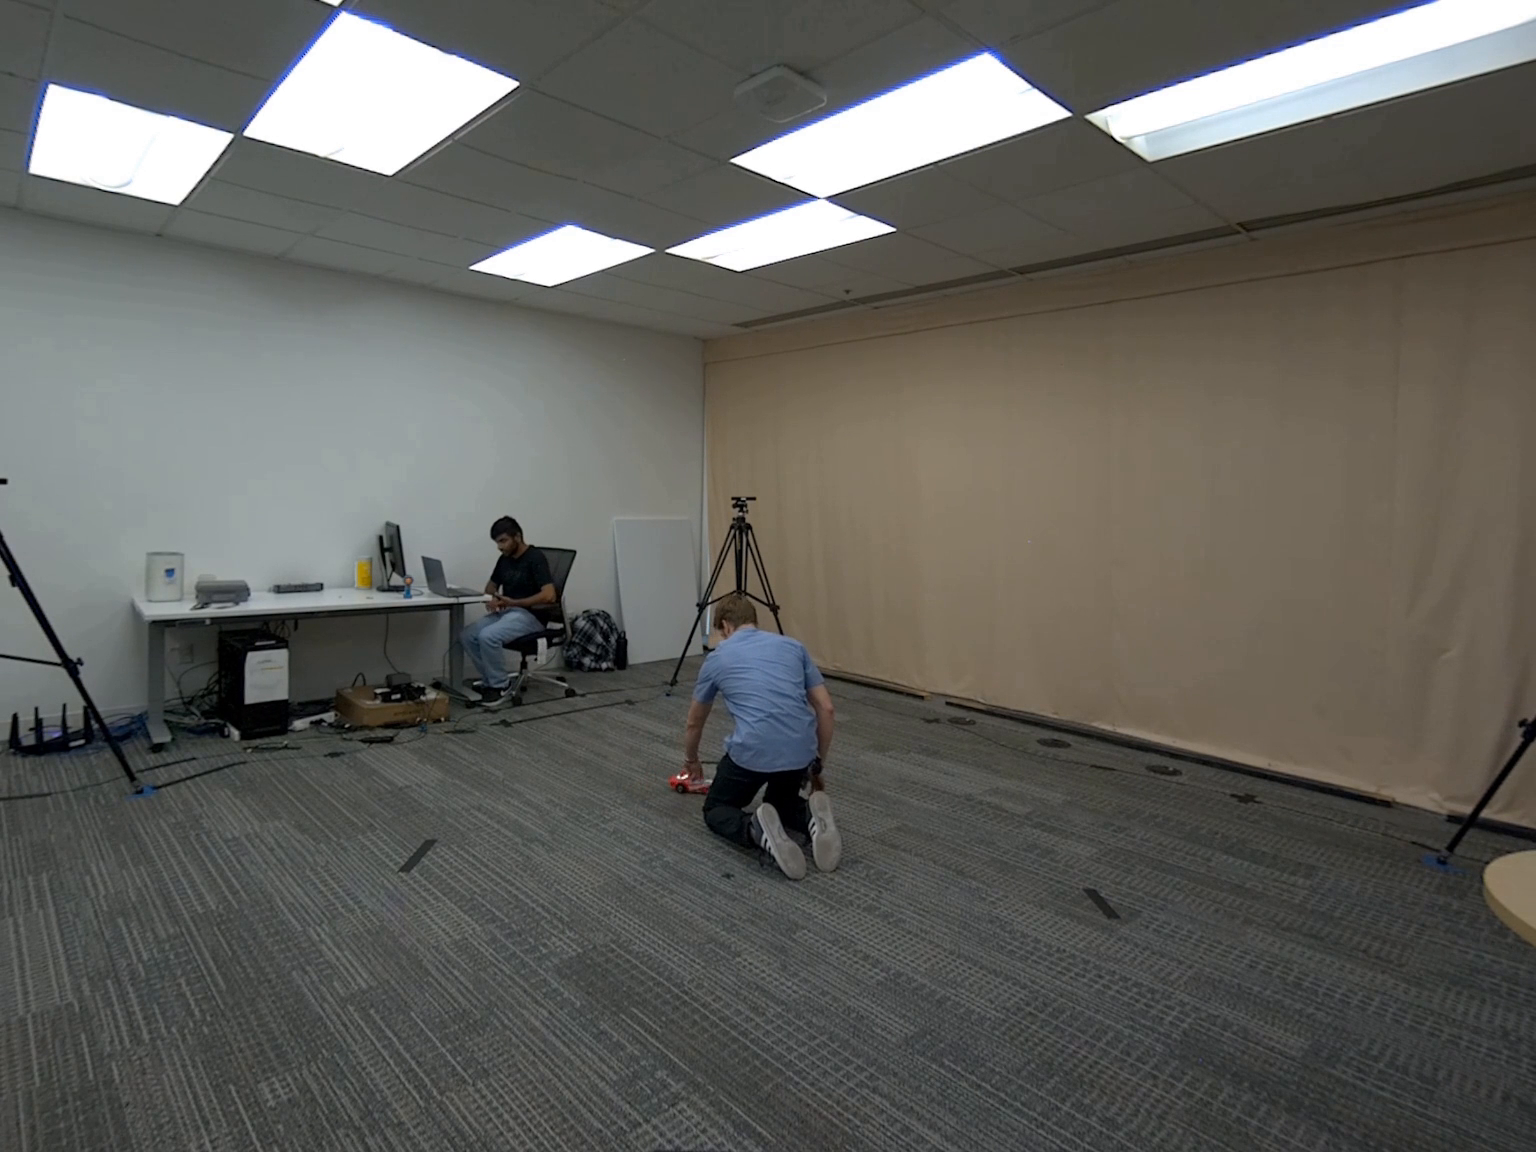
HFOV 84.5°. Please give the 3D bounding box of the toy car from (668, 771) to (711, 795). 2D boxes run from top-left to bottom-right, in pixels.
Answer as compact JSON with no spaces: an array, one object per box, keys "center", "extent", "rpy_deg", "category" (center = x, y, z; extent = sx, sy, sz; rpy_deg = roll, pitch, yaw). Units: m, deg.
[{"center":[-0.371,0.996,4.008],"extent":[0.258,0.083,0.129],"rpy_deg":[15,6,13],"category":"toy car"}]
